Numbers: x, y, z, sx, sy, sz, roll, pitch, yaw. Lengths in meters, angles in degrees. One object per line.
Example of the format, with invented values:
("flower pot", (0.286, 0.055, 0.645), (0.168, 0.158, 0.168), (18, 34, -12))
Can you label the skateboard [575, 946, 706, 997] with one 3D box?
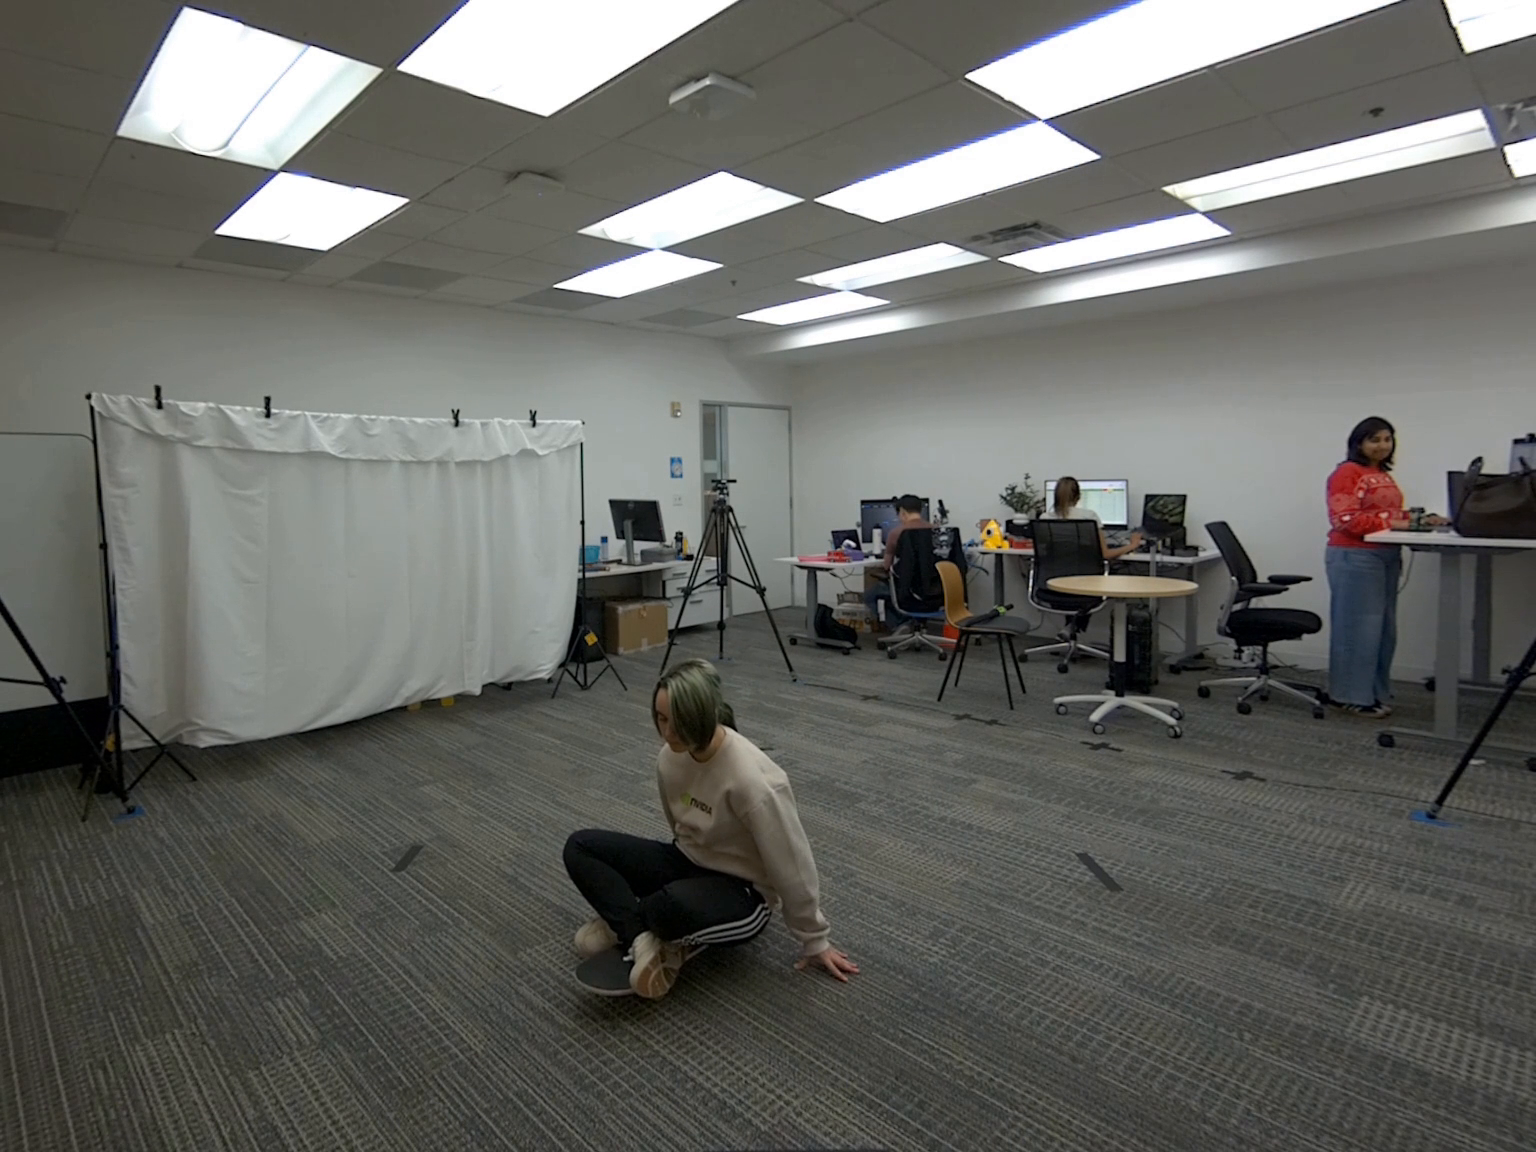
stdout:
("skateboard", (-0.243, 1.076, 2.486), (0.199, 0.110, 0.764), (7, 8, 40))
